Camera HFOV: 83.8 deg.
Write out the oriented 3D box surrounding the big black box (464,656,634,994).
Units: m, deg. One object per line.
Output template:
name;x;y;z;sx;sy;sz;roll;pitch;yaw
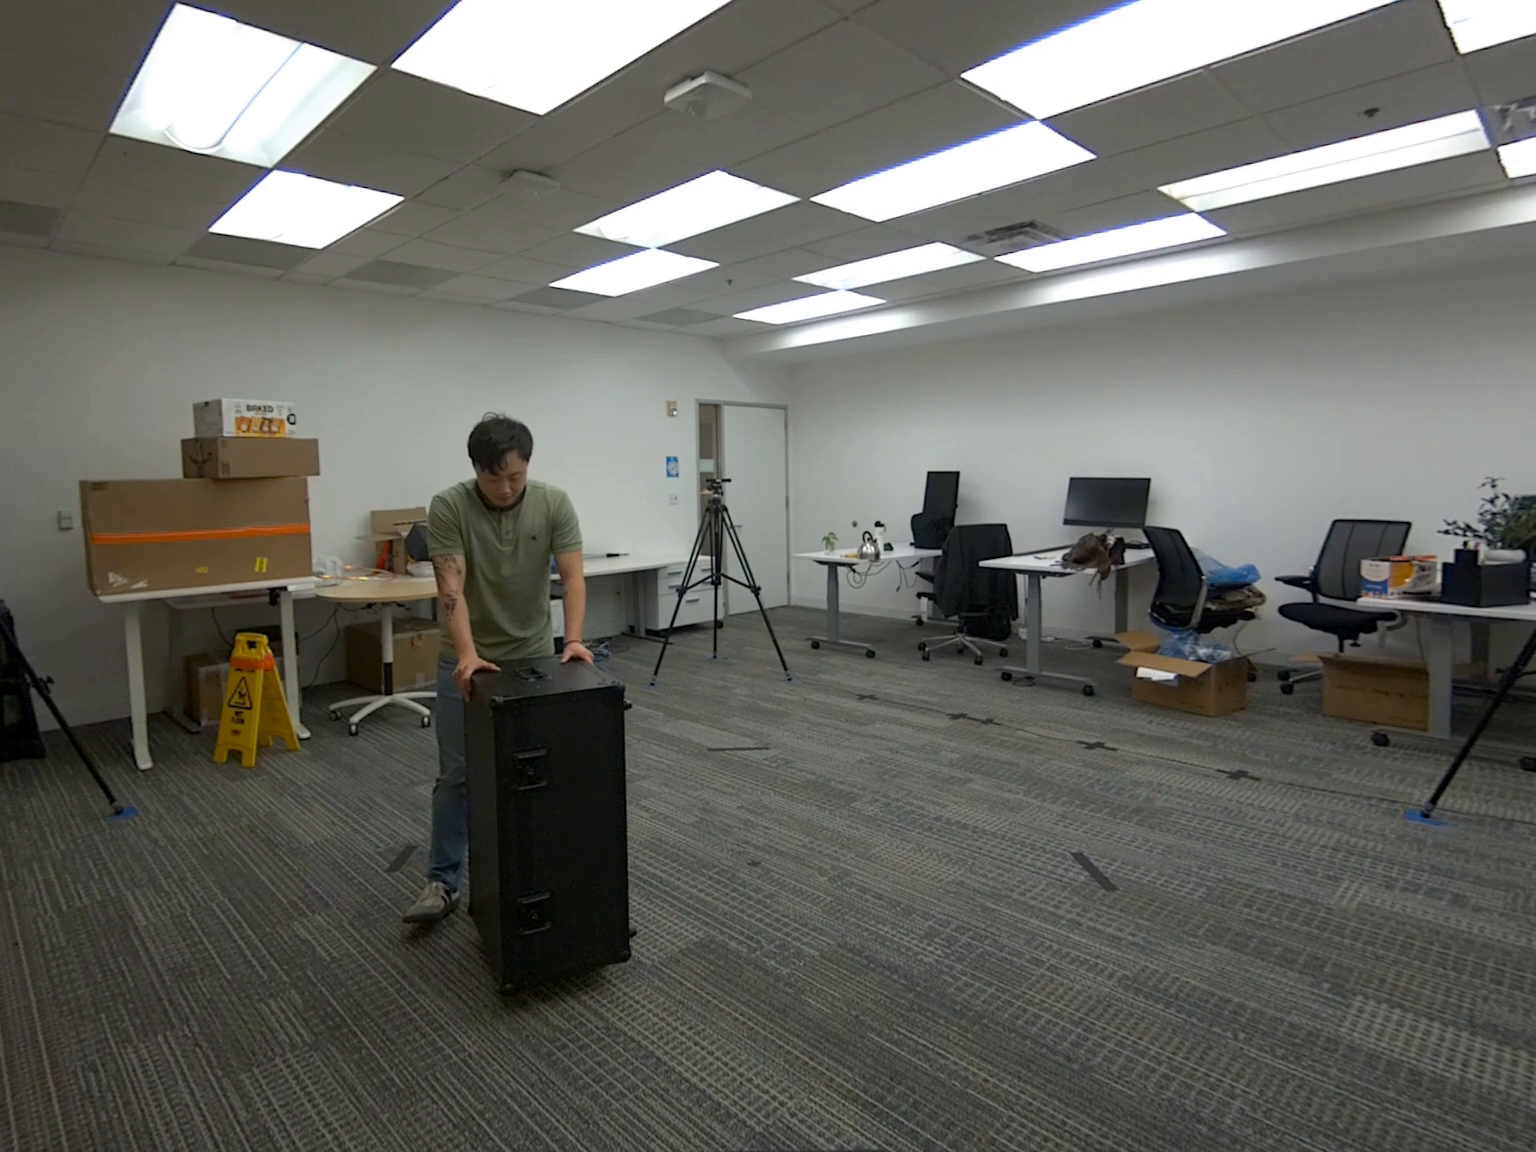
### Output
big black box;-0.643;0.703;2.488;0.387;0.859;0.535;-2;4;-28
